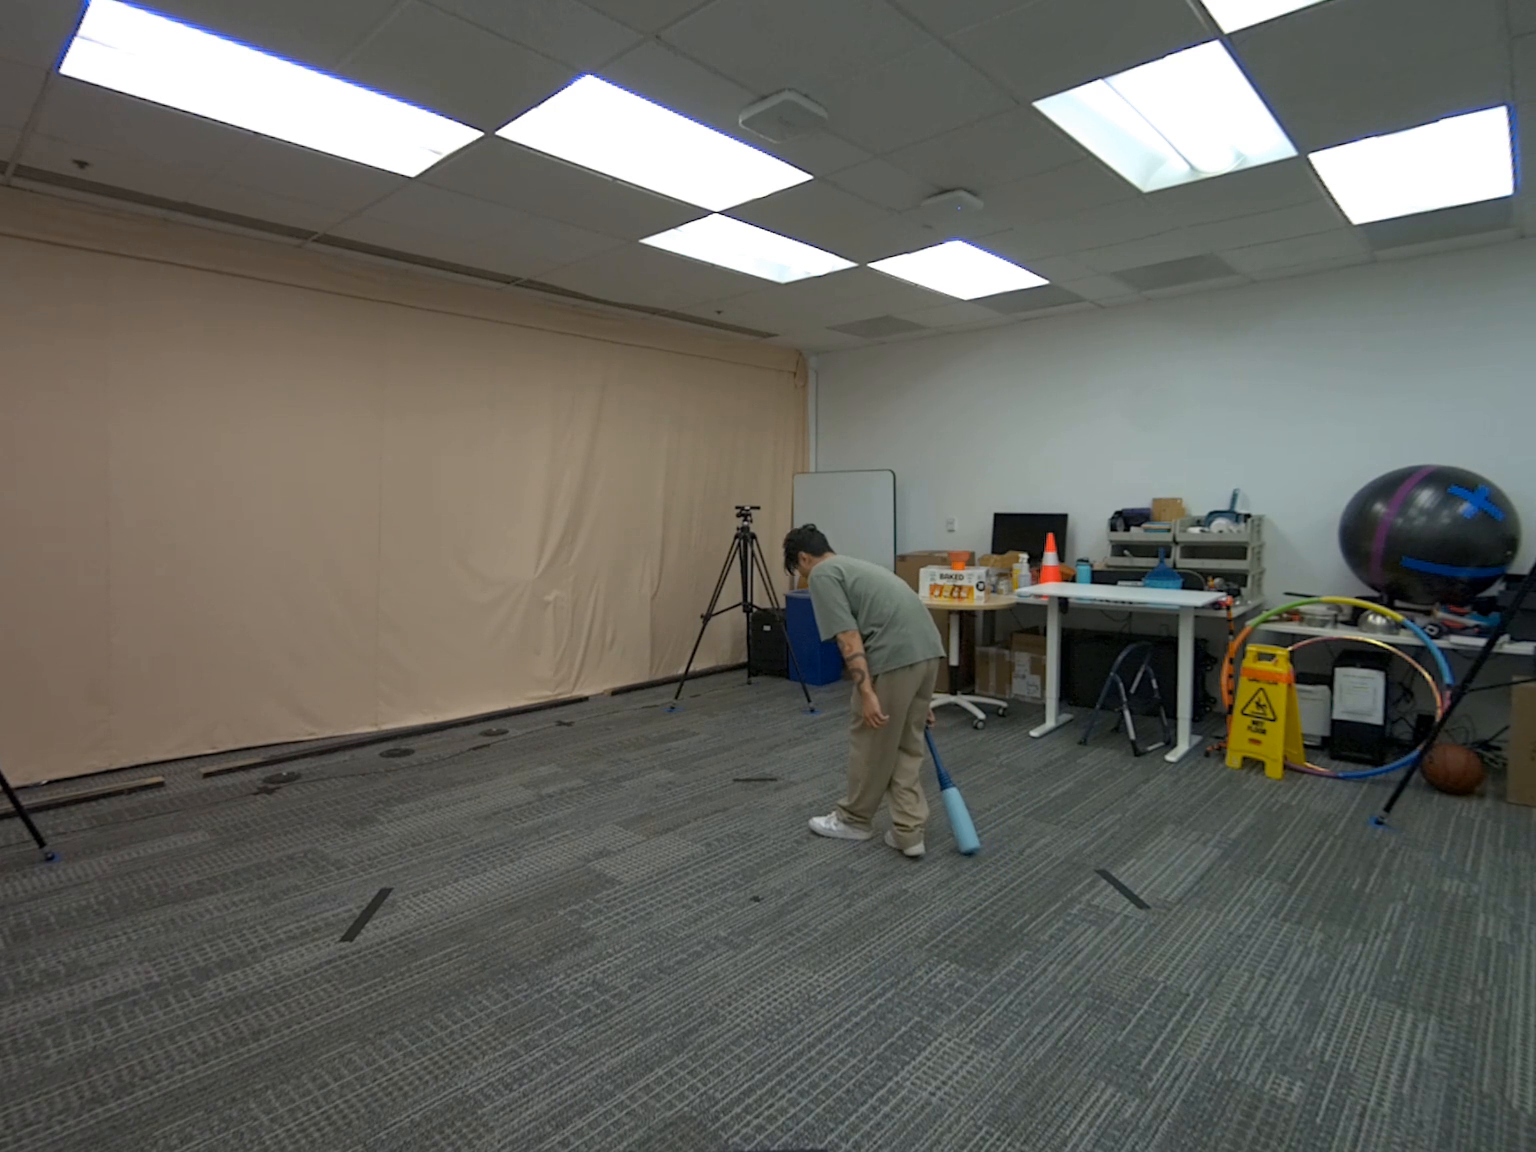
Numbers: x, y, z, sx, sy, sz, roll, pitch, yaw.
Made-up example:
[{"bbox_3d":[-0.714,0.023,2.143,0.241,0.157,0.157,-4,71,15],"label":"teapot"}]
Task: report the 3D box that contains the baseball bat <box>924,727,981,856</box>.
[{"bbox_3d":[0.745,0.869,3.477,0.088,0.555,0.088,-12,-29,-8],"label":"baseball bat"}]
